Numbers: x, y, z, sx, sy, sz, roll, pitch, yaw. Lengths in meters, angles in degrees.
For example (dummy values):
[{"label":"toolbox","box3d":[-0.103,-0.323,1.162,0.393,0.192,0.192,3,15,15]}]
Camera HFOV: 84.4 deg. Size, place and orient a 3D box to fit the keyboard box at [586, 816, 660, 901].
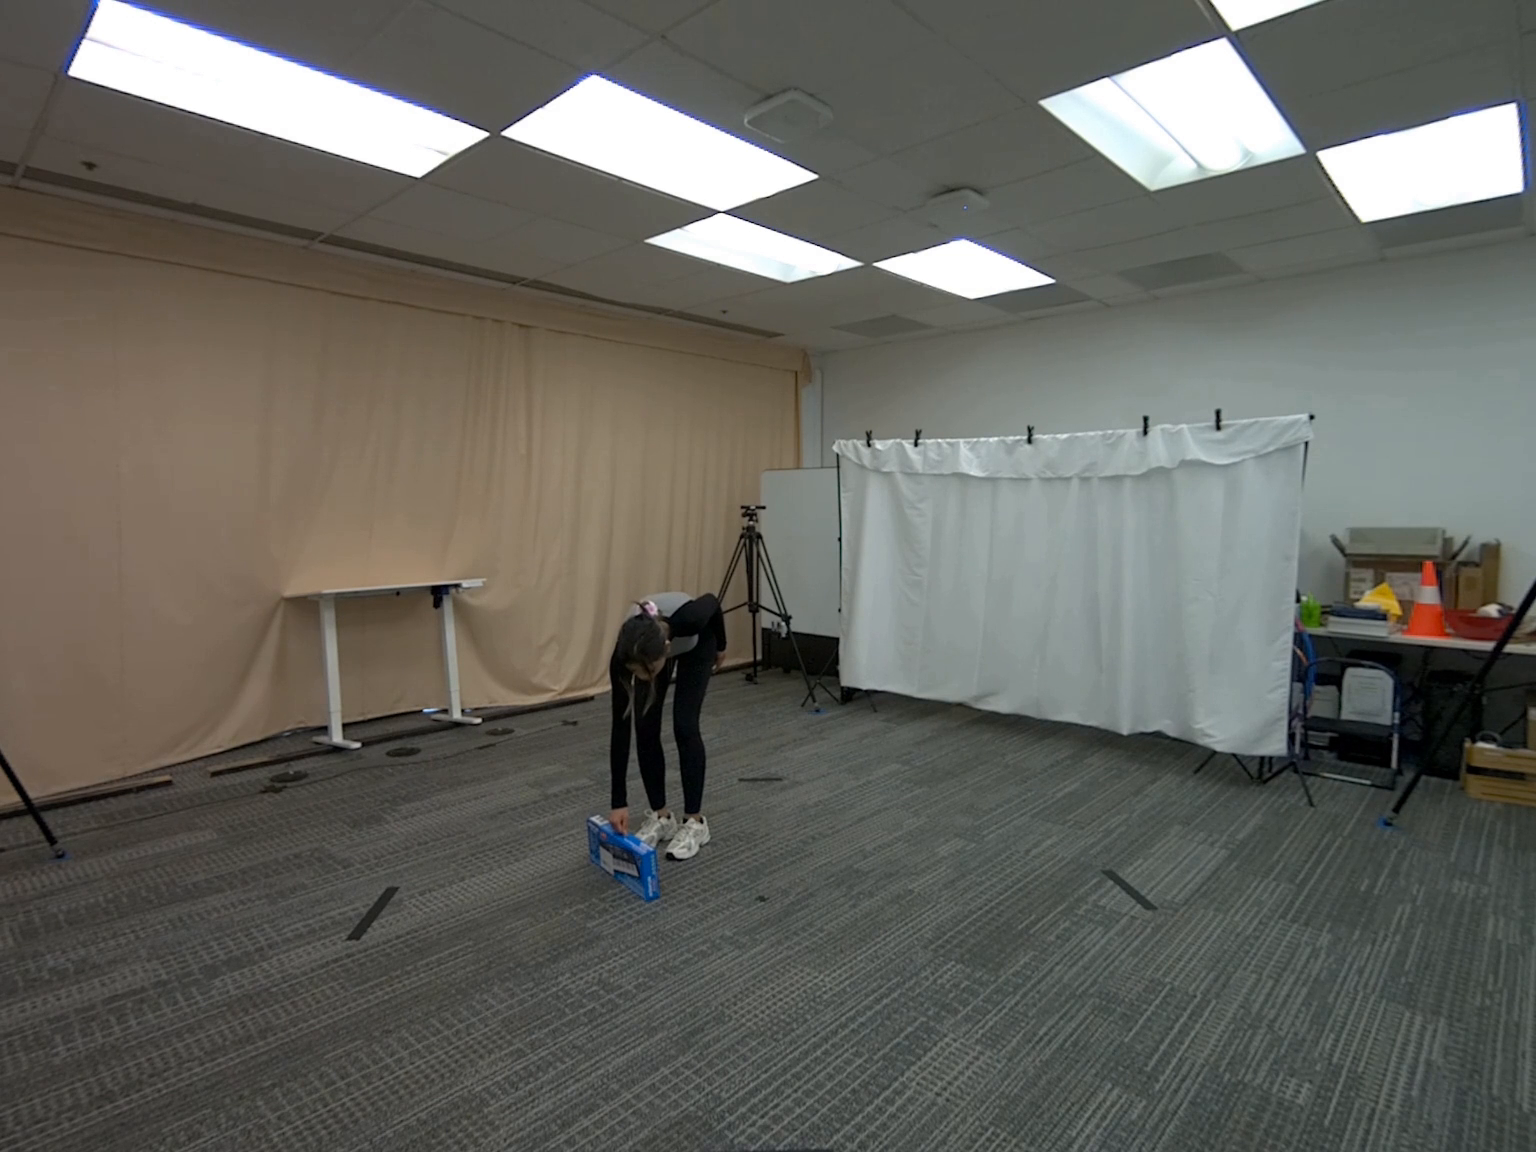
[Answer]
[{"label":"keyboard box","box3d":[-0.548,1.049,3.151,0.057,0.175,0.451,-7,7,-37]}]
